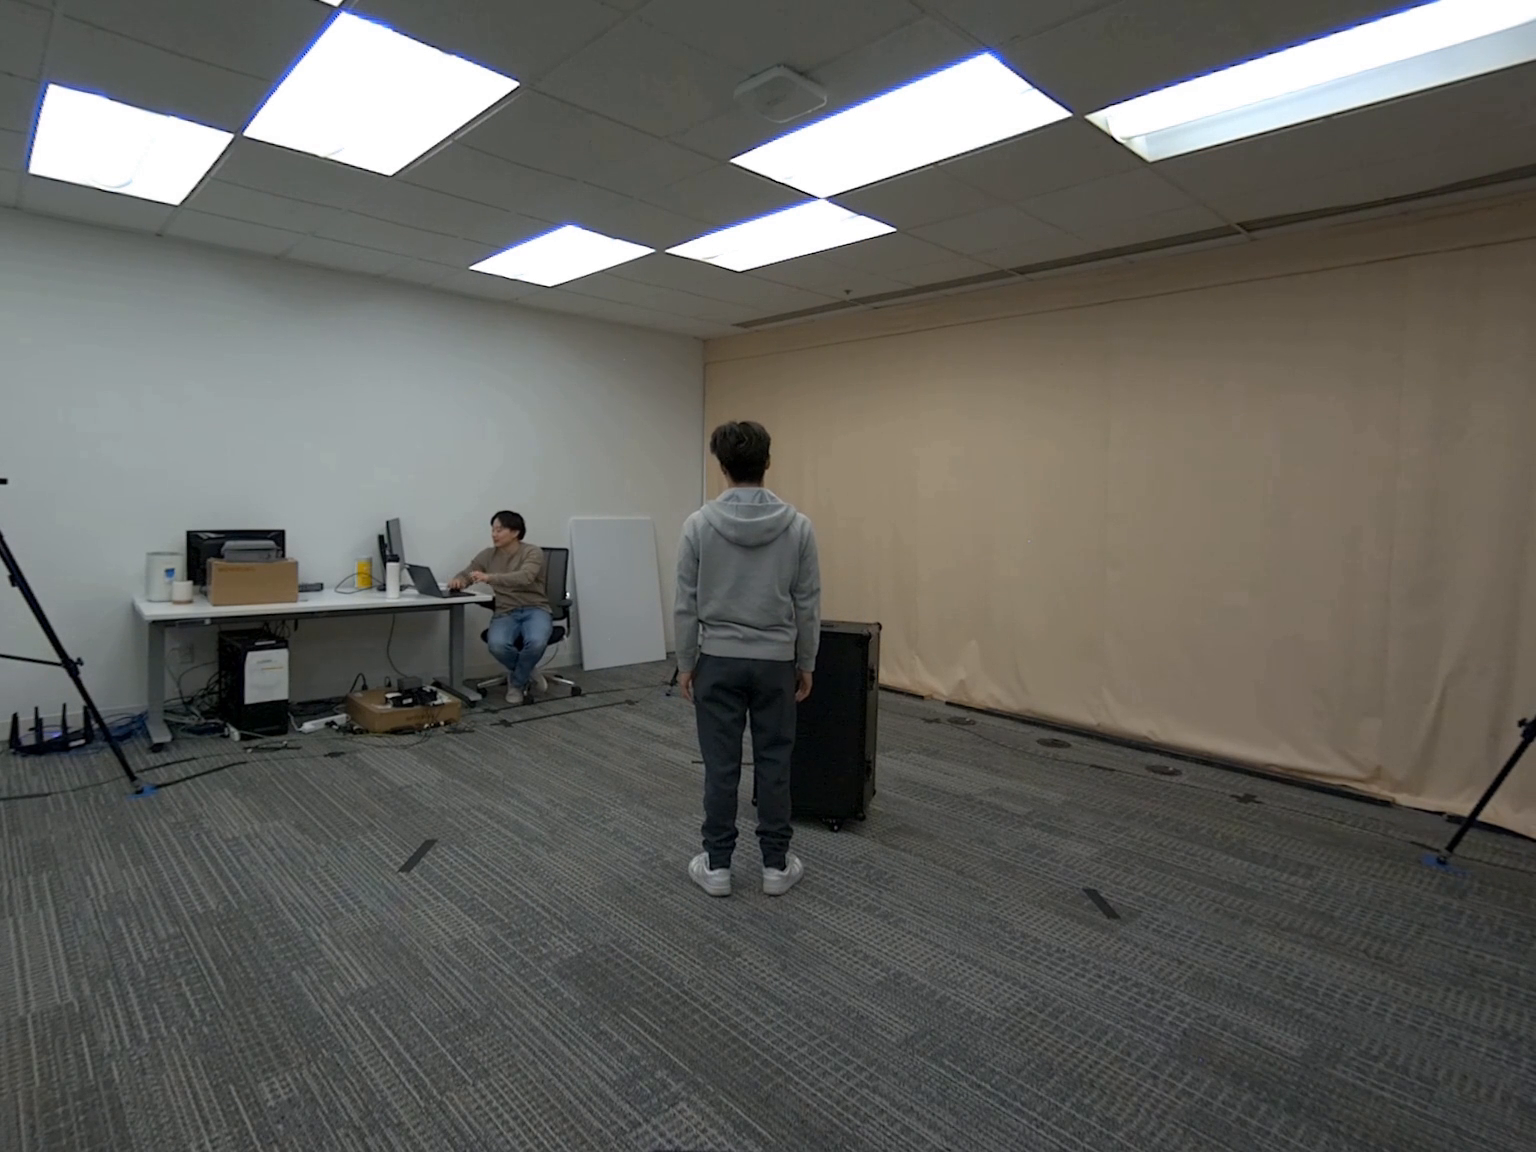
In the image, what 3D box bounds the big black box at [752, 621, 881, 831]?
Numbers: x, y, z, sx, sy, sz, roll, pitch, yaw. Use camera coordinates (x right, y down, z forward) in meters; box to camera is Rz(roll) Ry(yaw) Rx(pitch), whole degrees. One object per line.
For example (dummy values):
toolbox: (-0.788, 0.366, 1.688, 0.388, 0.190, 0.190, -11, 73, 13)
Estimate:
big black box: (0.222, 0.640, 3.733, 0.529, 0.860, 0.391, 3, 2, 18)
